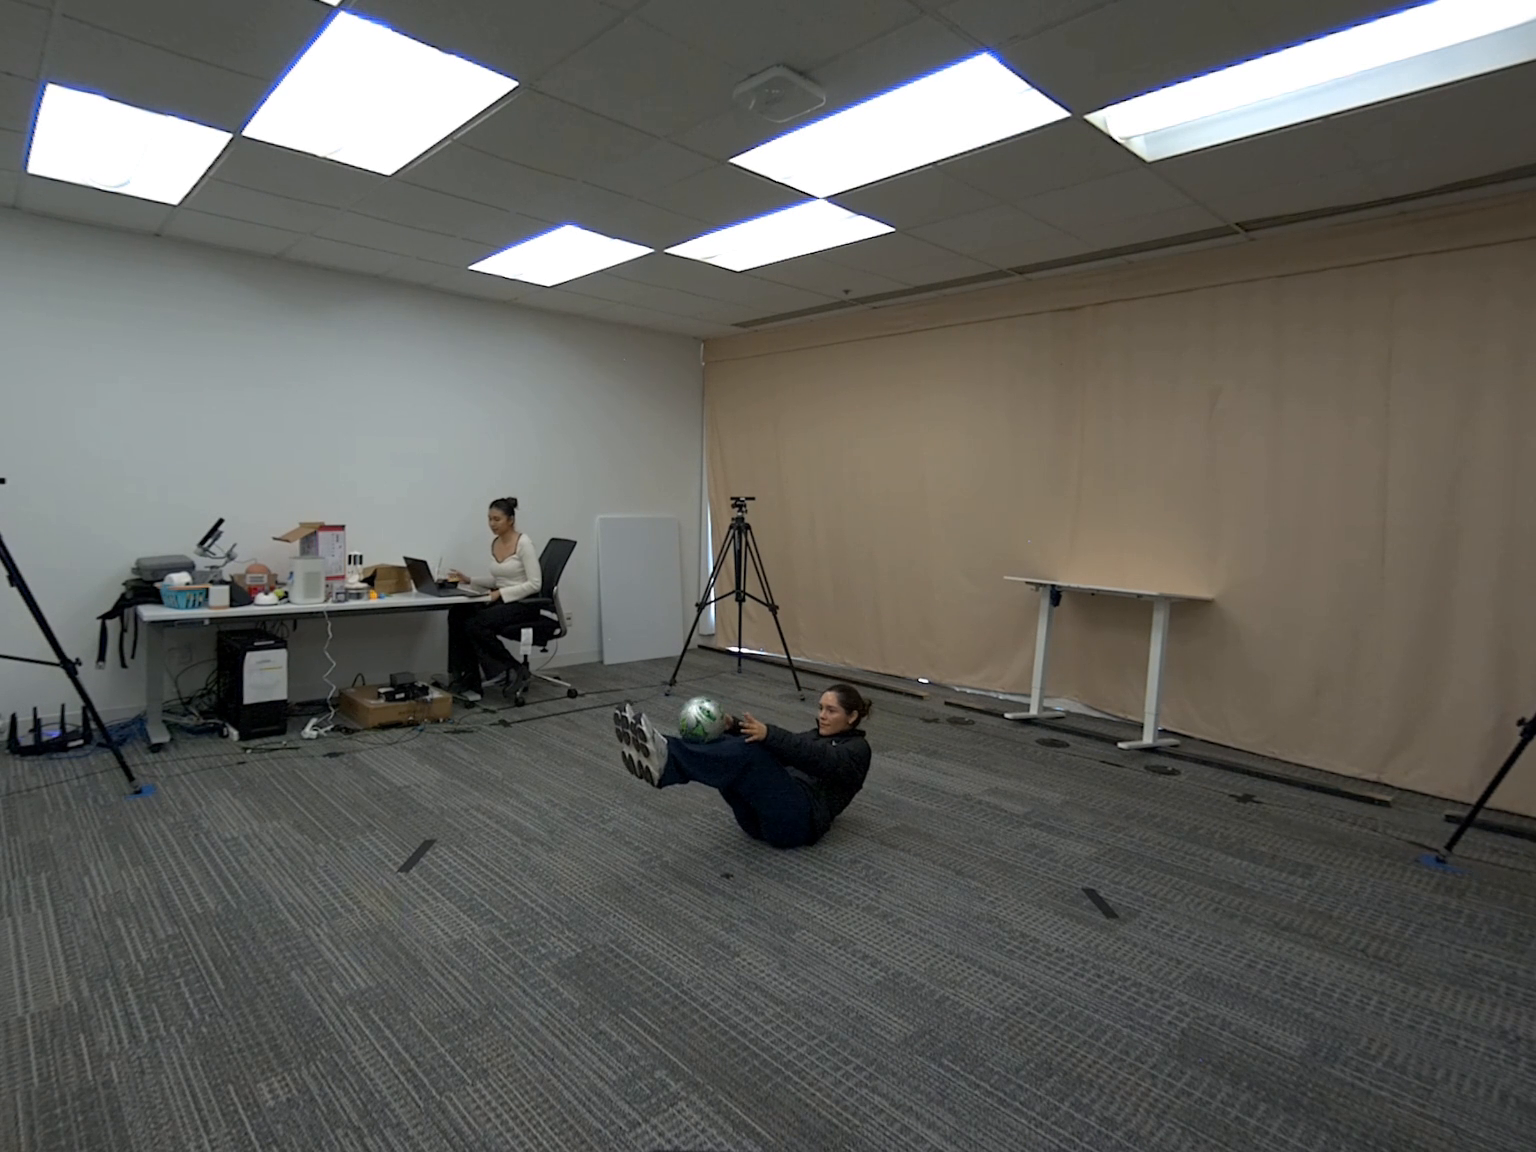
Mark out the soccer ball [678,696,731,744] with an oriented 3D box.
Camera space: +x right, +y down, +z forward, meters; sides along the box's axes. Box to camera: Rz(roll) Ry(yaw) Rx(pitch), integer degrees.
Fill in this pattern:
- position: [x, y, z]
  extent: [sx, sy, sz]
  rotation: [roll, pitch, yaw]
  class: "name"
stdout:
- position: [-0.261, 0.552, 3.202]
  extent: [0.187, 0.186, 0.188]
  rotation: [0, 7, -1]
  class: "soccer ball"
